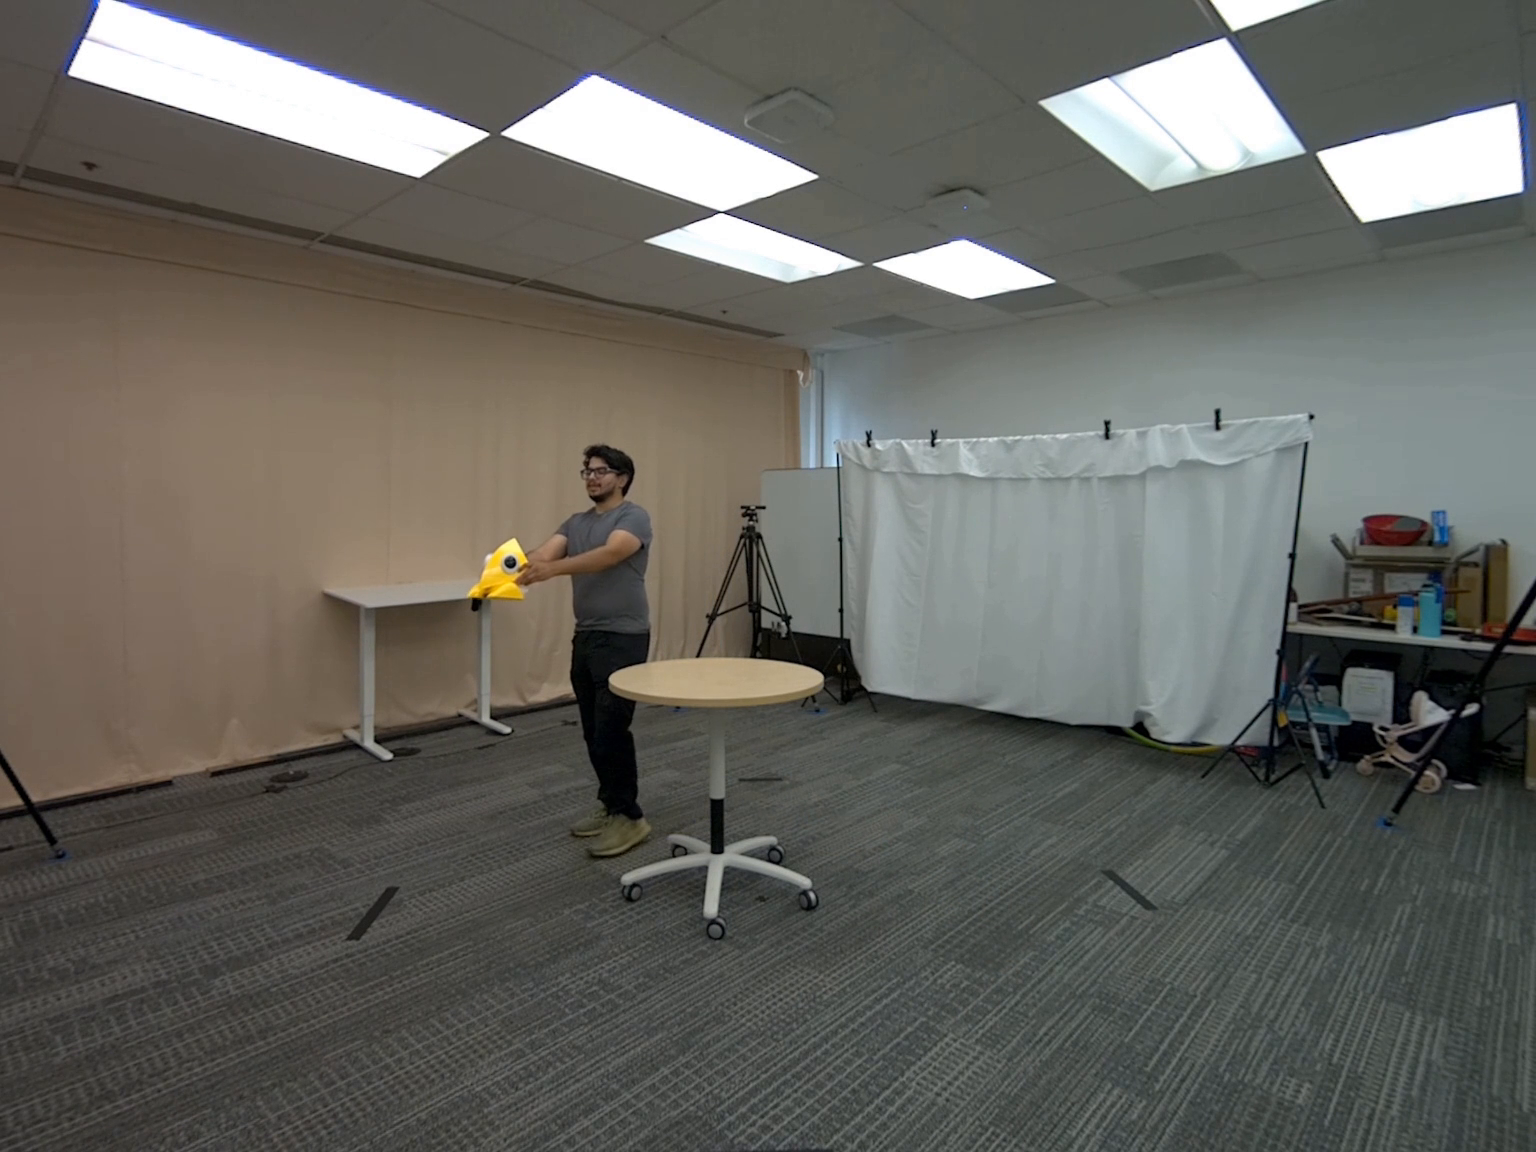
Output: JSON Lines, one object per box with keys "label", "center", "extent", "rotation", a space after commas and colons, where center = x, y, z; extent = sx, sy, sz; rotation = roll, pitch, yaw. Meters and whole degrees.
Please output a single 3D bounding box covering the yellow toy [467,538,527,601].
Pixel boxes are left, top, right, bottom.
{"label": "yellow toy", "center": [-0.992, -0.031, 3.109], "extent": [0.211, 0.231, 0.187], "rotation": [0, -7, 32]}
